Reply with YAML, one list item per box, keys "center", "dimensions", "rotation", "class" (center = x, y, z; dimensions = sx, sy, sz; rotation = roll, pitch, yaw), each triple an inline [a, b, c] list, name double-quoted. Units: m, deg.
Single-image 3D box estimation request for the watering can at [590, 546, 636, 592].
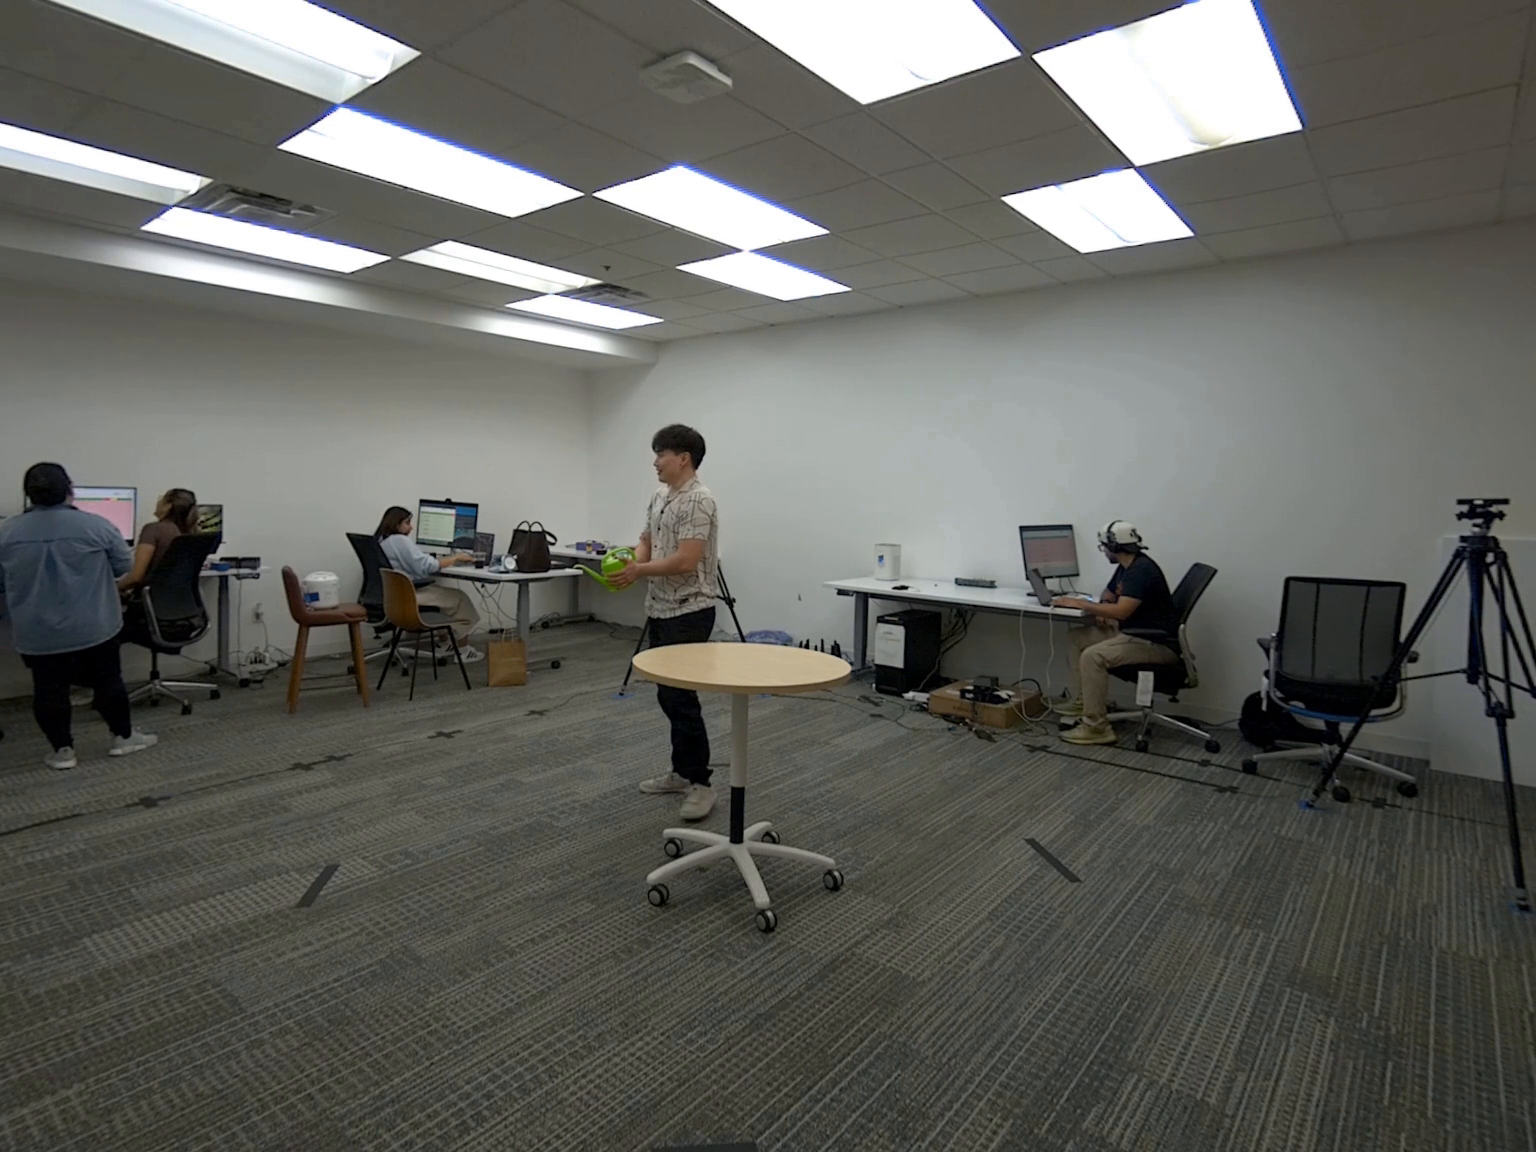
- center: [-0.725, -0.024, 3.758]
  dimensions: [0.276, 0.172, 0.101]
  rotation: [-16, 23, -8]
  class: "watering can"
